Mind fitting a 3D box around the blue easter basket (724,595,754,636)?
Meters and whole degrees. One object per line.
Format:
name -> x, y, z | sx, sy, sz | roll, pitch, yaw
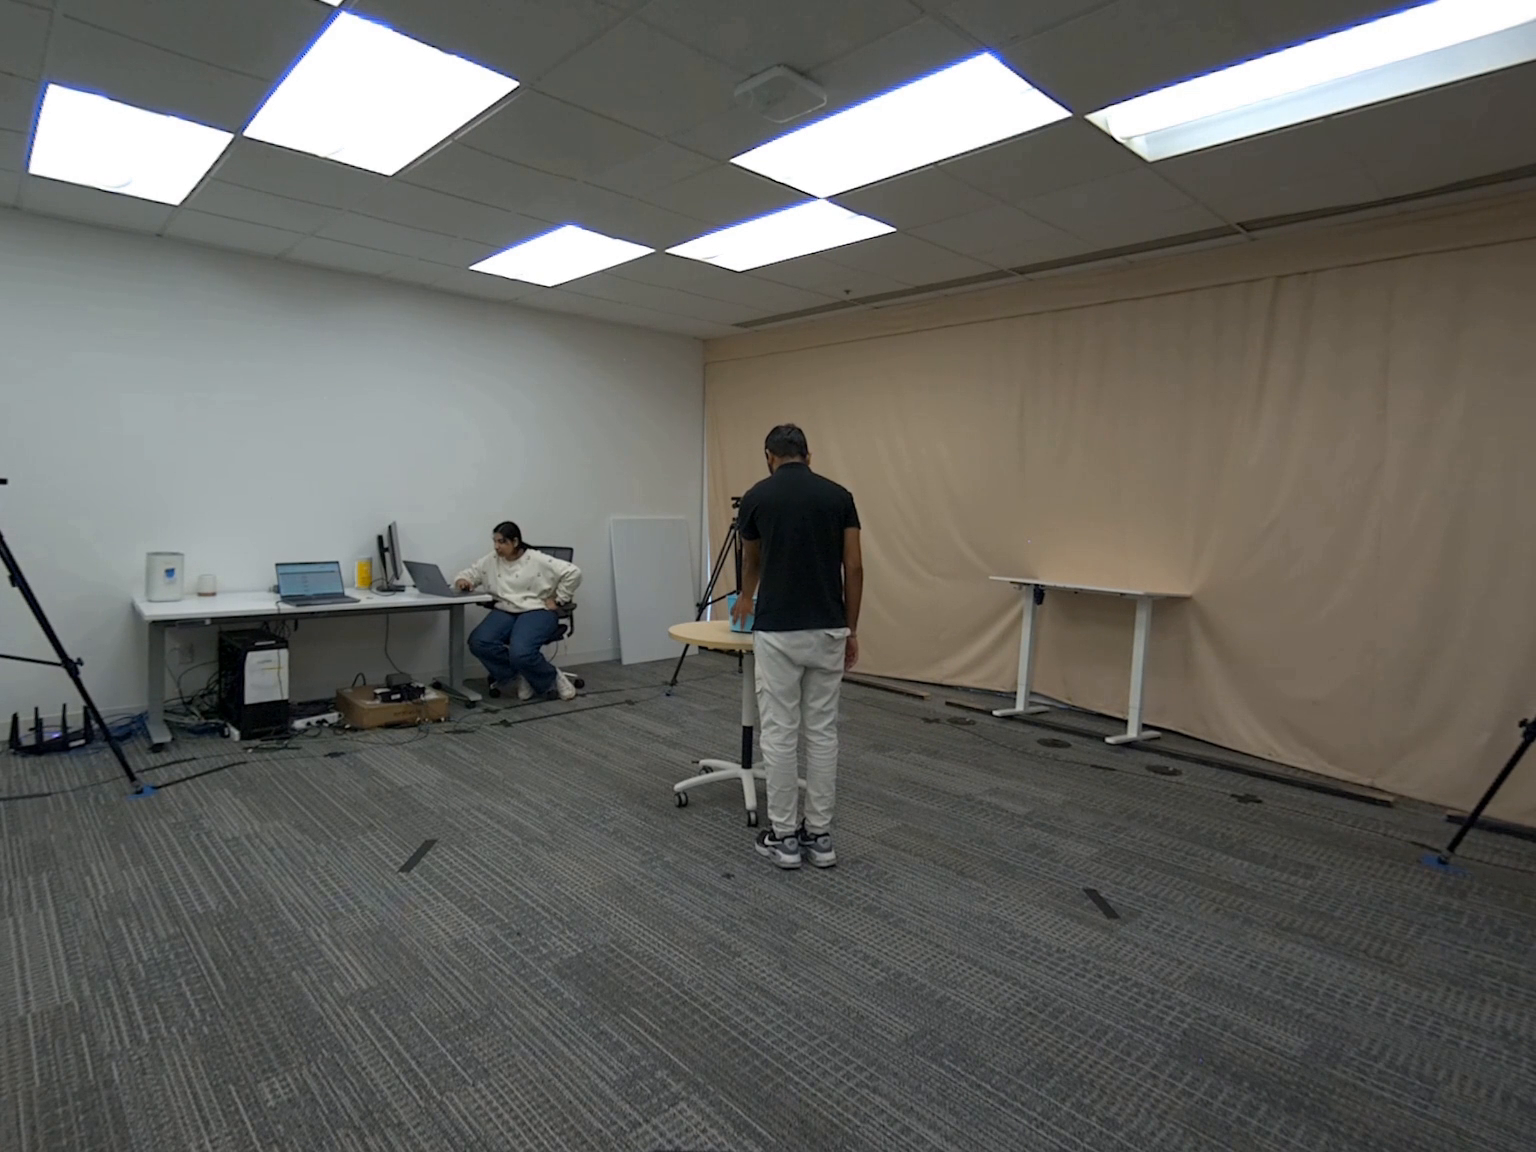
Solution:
blue easter basket -> -0.079, 0.180, 3.915 | 0.243, 0.156, 0.244 | 2, 3, -1
